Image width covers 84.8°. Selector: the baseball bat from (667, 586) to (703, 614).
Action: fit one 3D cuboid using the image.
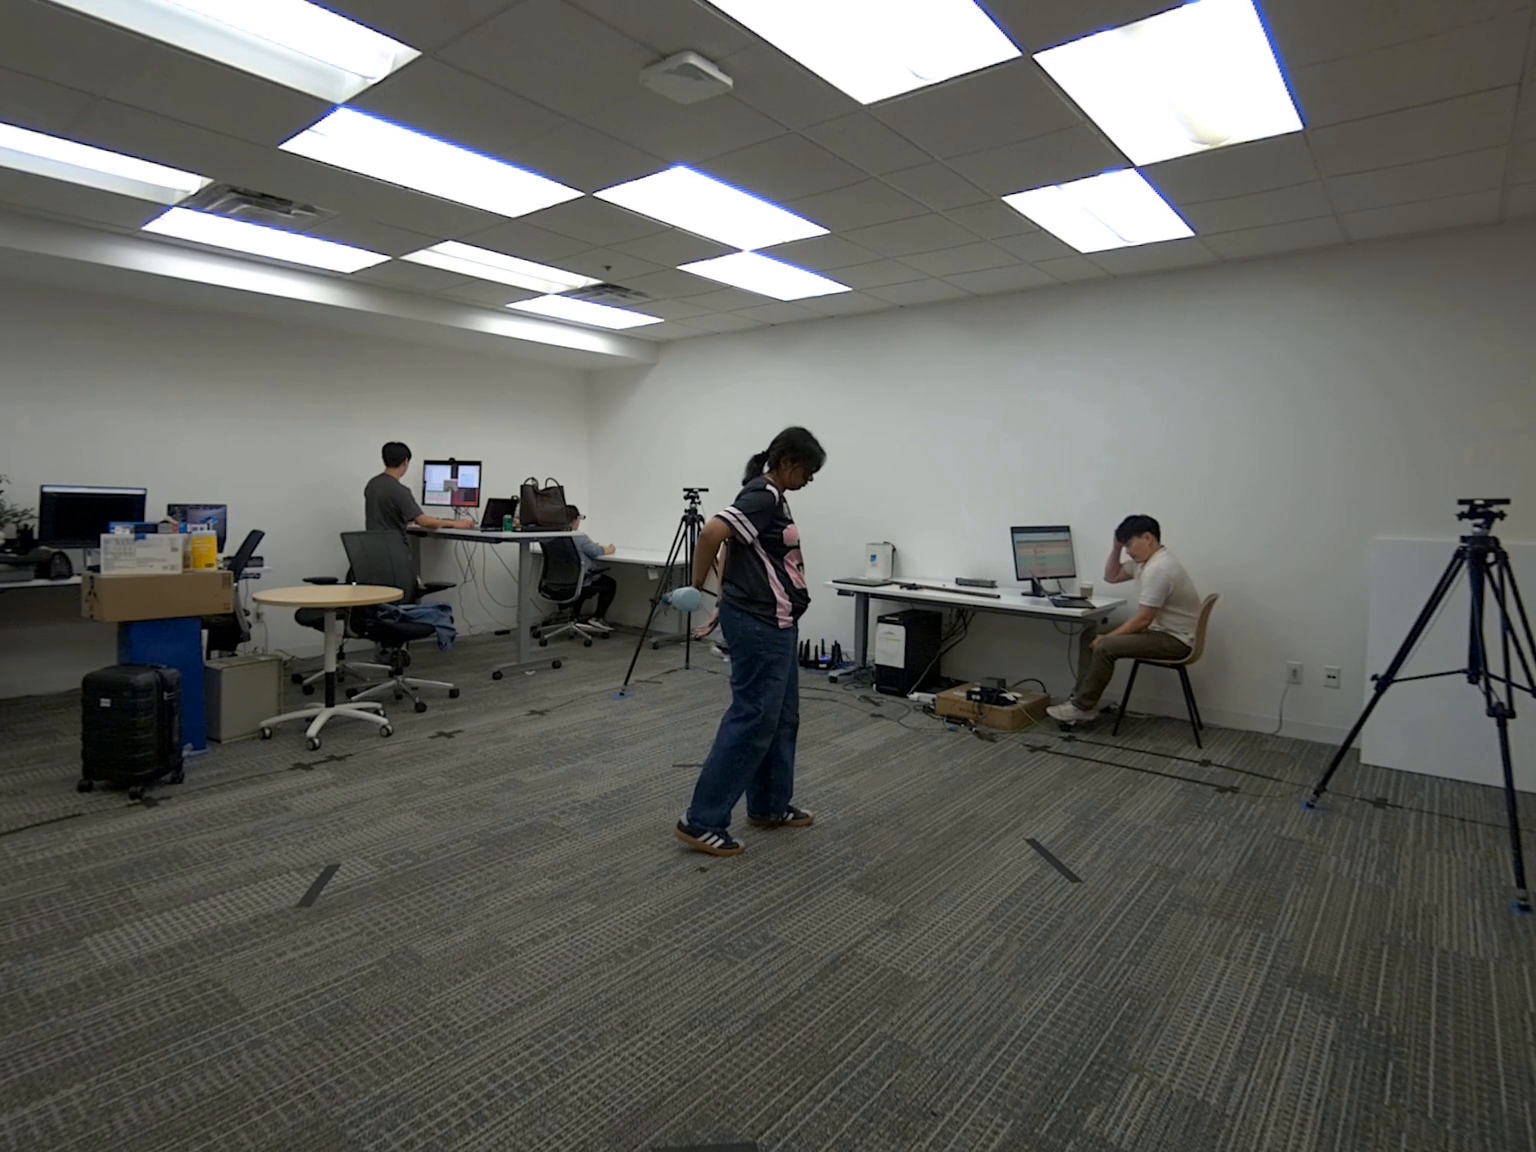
[{"bbox_3d":[-0.327,0.087,3.323,0.088,0.089,0.546,0,-2,-9],"label":"baseball bat"}]
